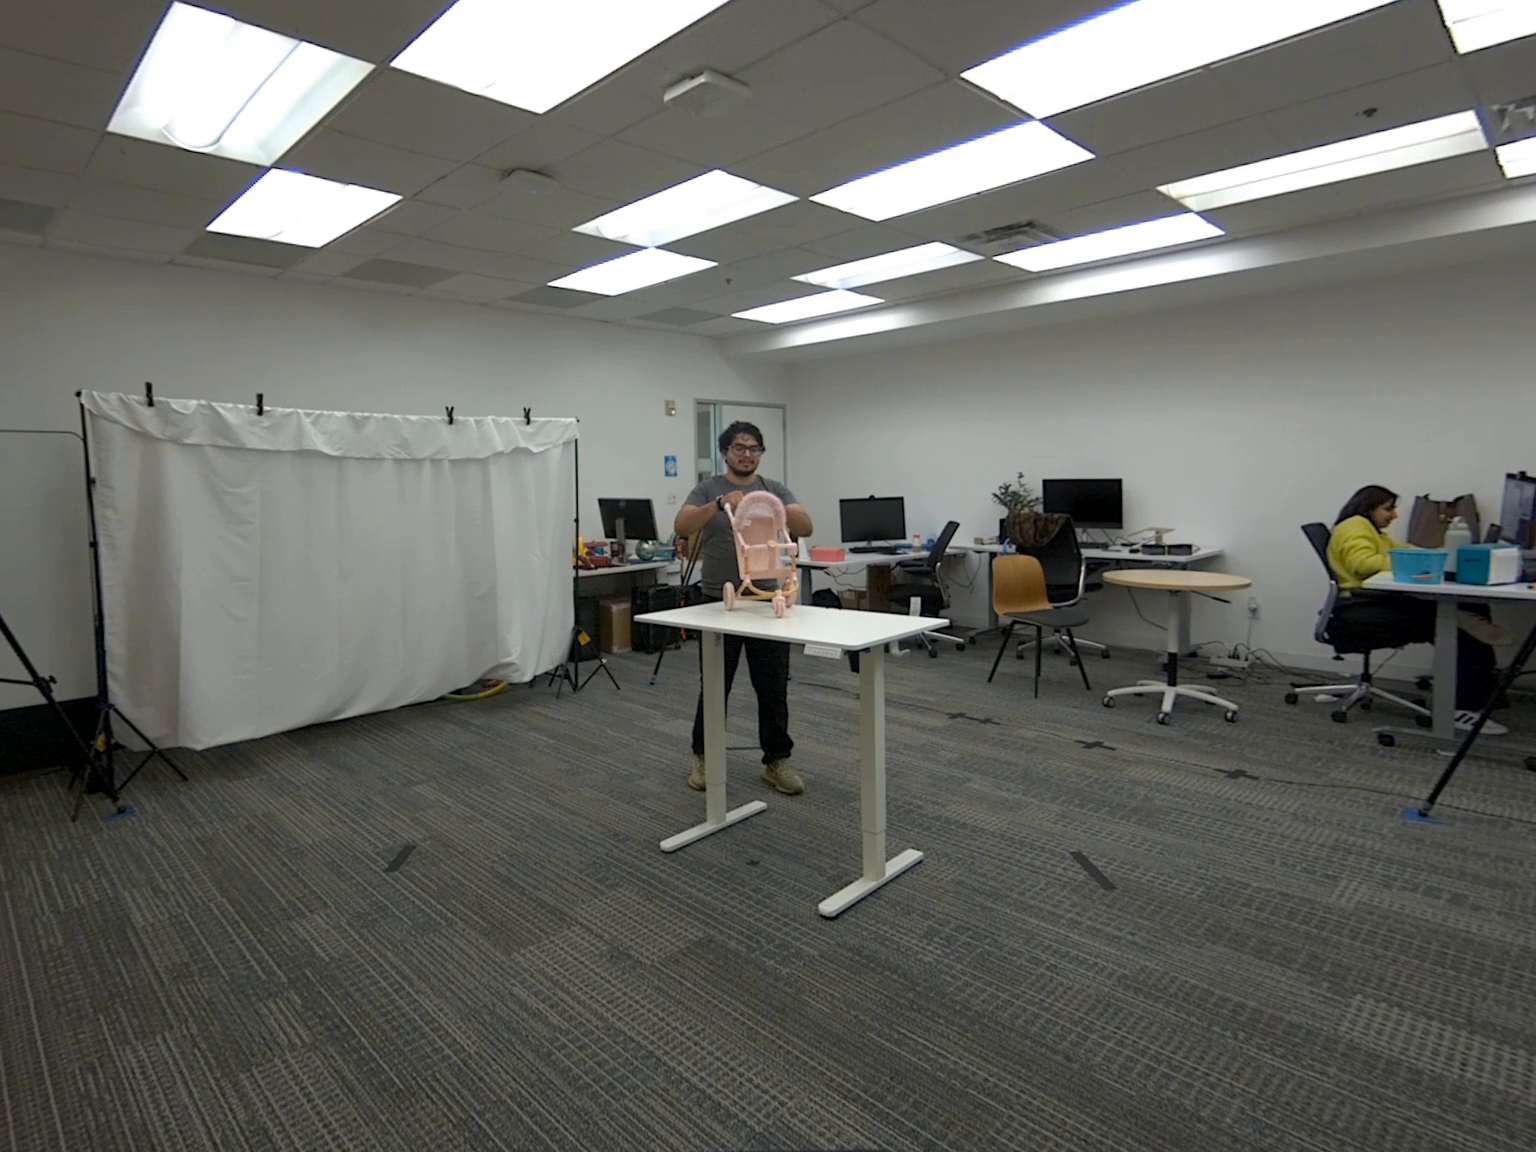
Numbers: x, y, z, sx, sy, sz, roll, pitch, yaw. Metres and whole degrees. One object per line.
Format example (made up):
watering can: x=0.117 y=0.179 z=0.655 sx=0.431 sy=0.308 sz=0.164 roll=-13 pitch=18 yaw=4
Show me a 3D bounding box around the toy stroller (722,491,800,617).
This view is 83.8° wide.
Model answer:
toy stroller: x=-0.026 y=-0.087 z=3.311 sx=0.278 sy=0.541 sz=0.342 roll=-3 pitch=-10 yaw=-13
